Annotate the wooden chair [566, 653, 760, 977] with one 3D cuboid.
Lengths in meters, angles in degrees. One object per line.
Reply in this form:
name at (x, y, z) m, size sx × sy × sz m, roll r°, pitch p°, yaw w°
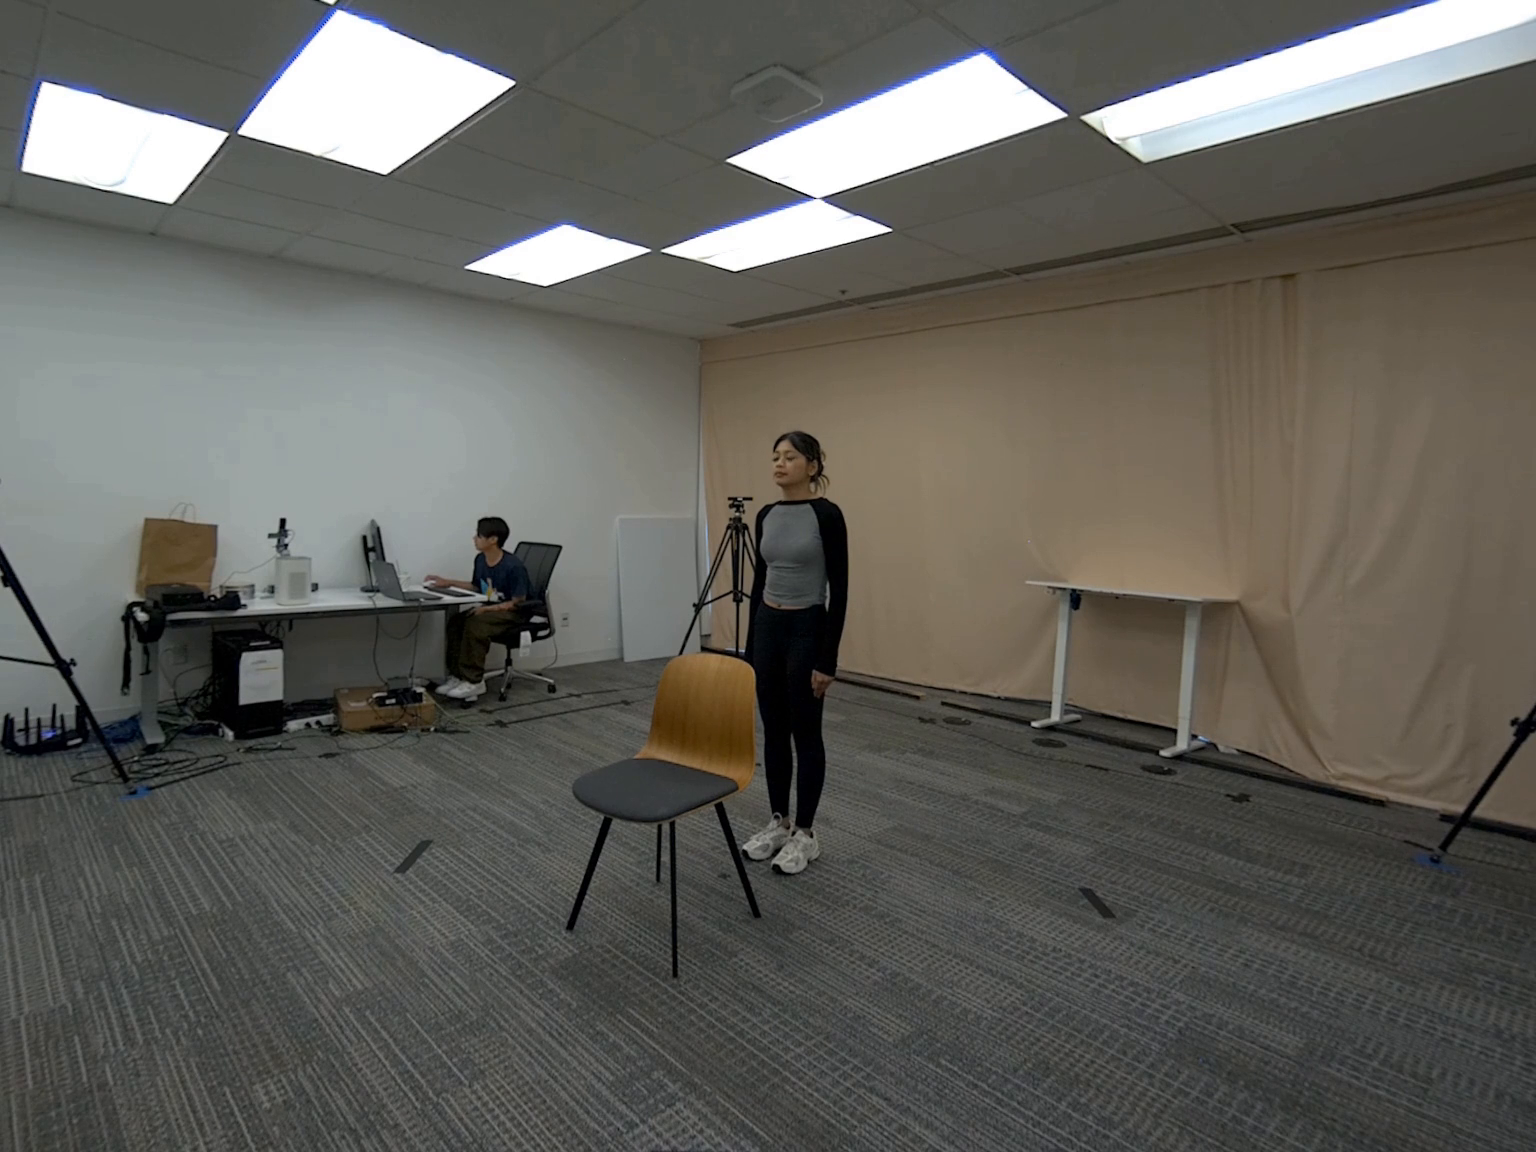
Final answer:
wooden chair at (-0.330, 0.712, 2.704) m, size 0.489 × 0.878 × 0.511 m, roll 4°, pitch 0°, yaw 34°
